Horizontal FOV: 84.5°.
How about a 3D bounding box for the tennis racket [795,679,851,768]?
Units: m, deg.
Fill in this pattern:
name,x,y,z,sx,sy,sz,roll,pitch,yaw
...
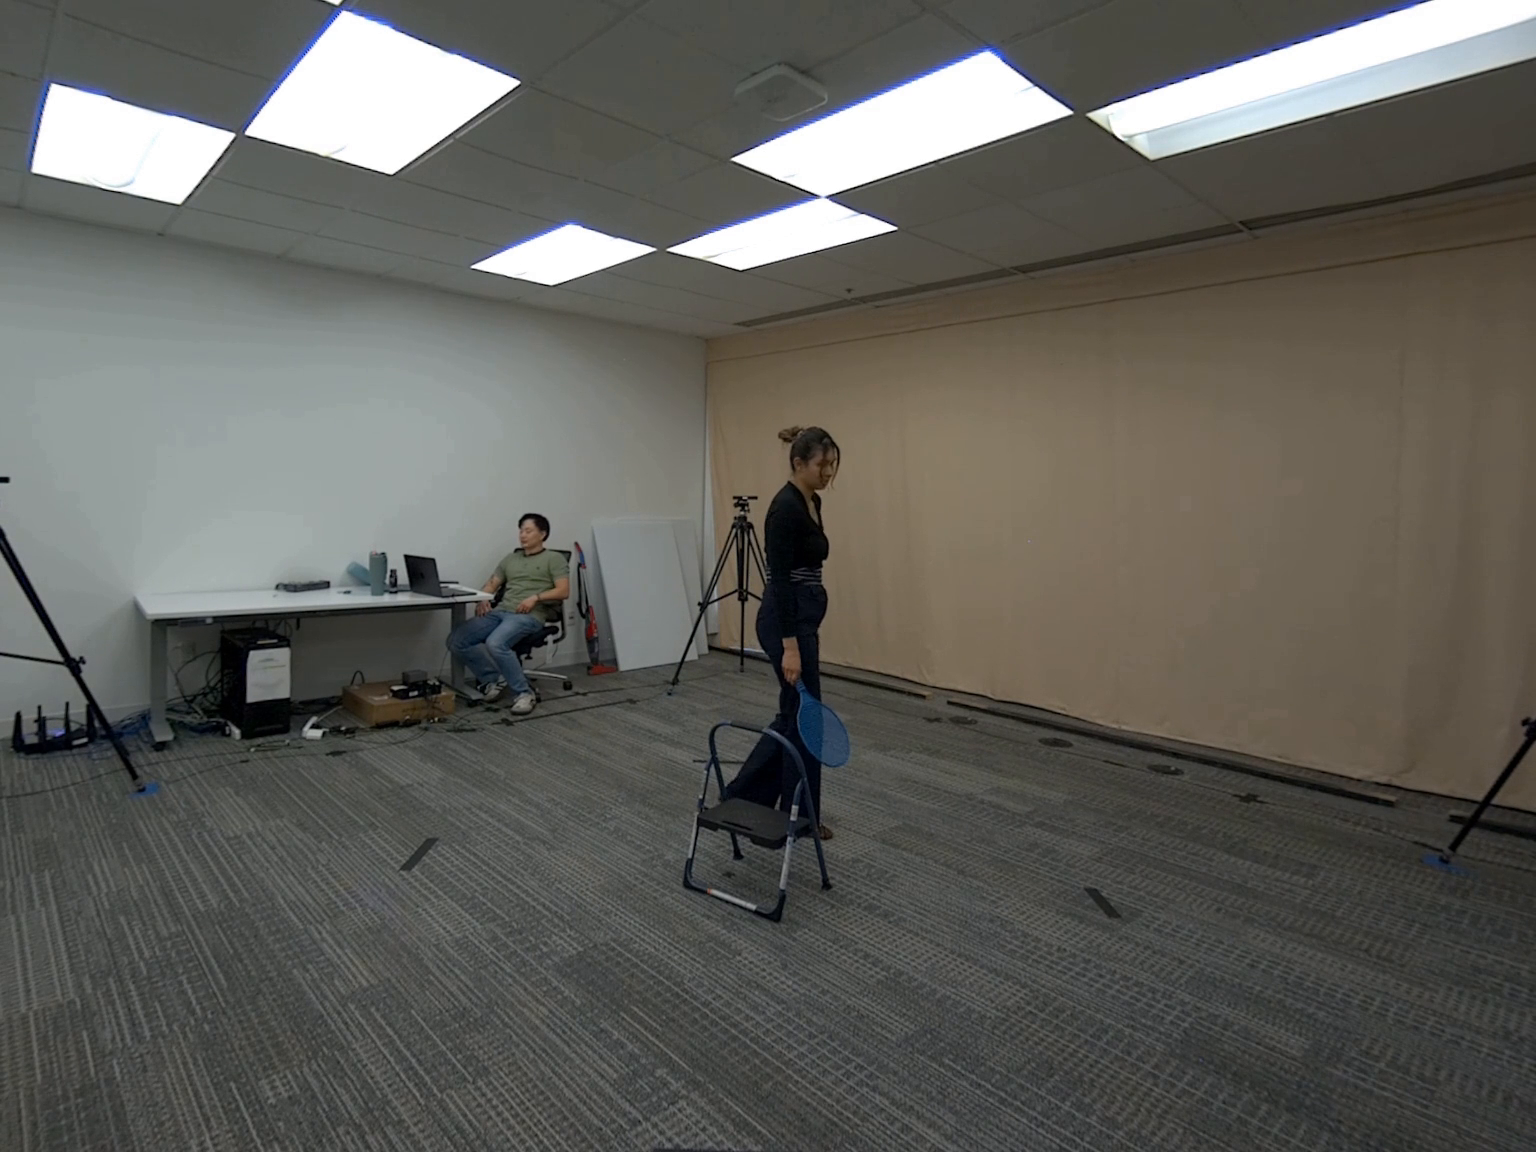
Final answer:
name,x,y,z,sx,sy,sz,roll,pitch,yaw
tennis racket,0.162,0.527,3.229,0.209,0.442,0.032,-8,-29,-38
